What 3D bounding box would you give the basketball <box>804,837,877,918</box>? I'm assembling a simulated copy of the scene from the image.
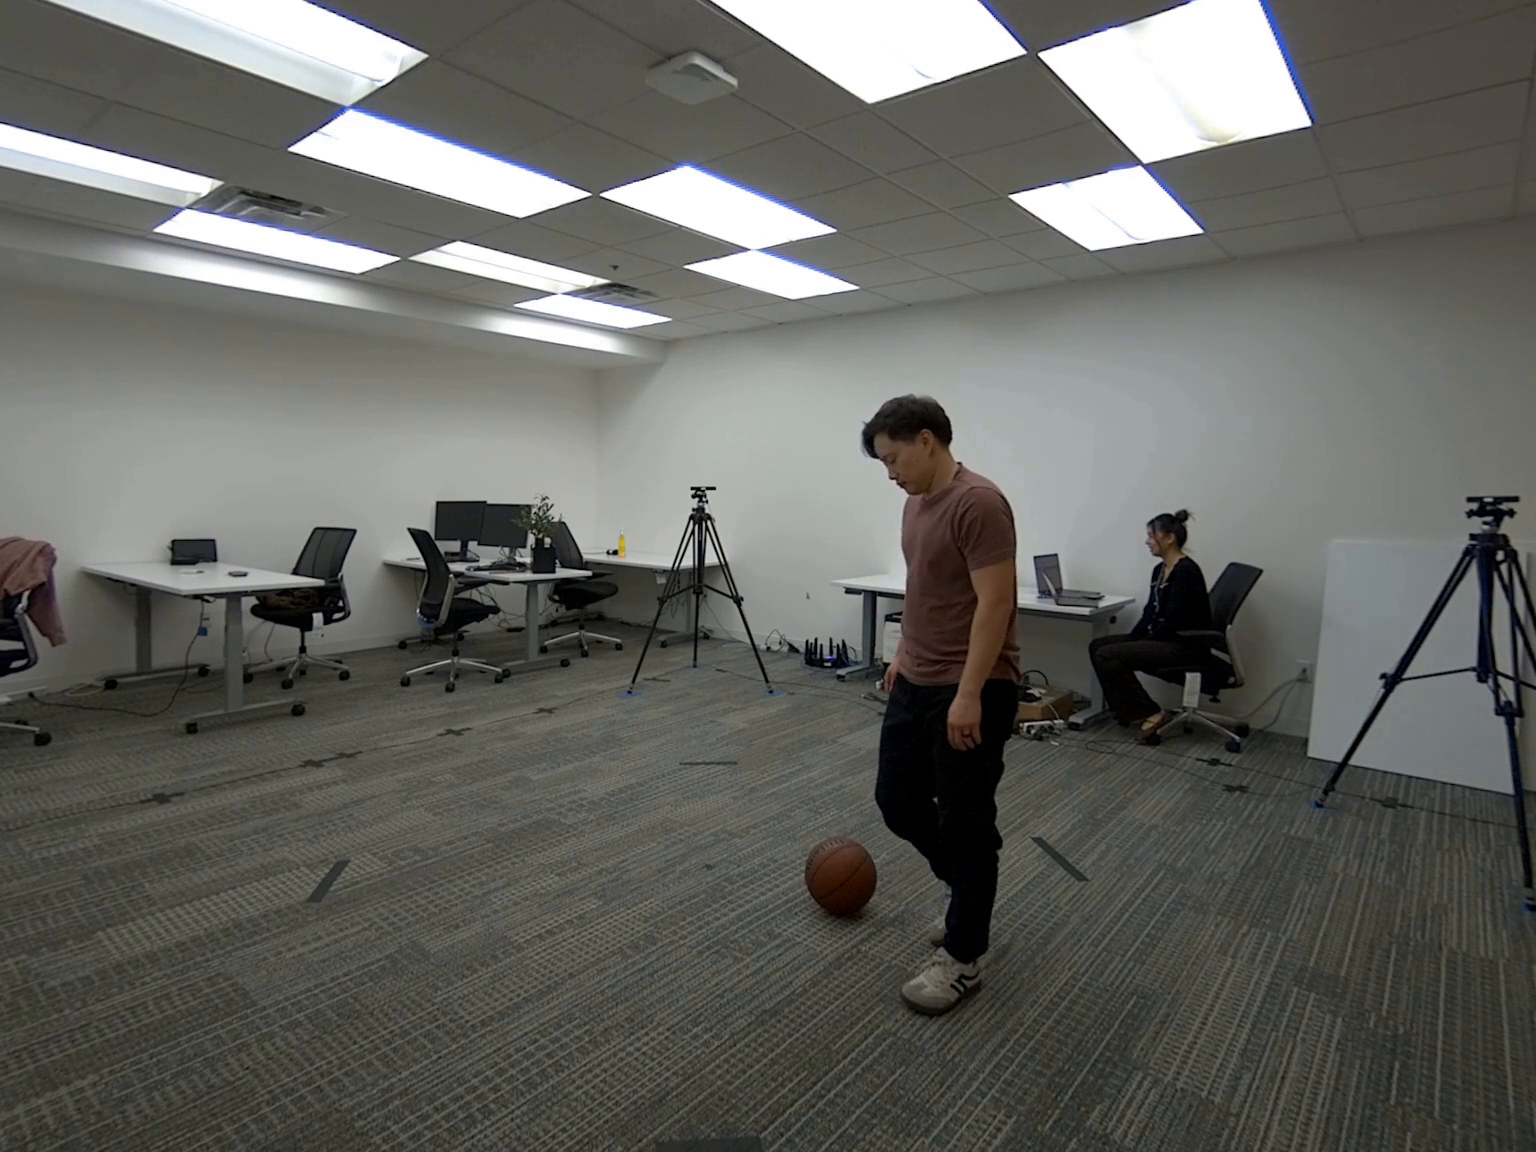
[{"bbox_3d":[0.235,0.986,2.815,0.235,0.235,0.237,1,4,-2],"label":"basketball"}]
